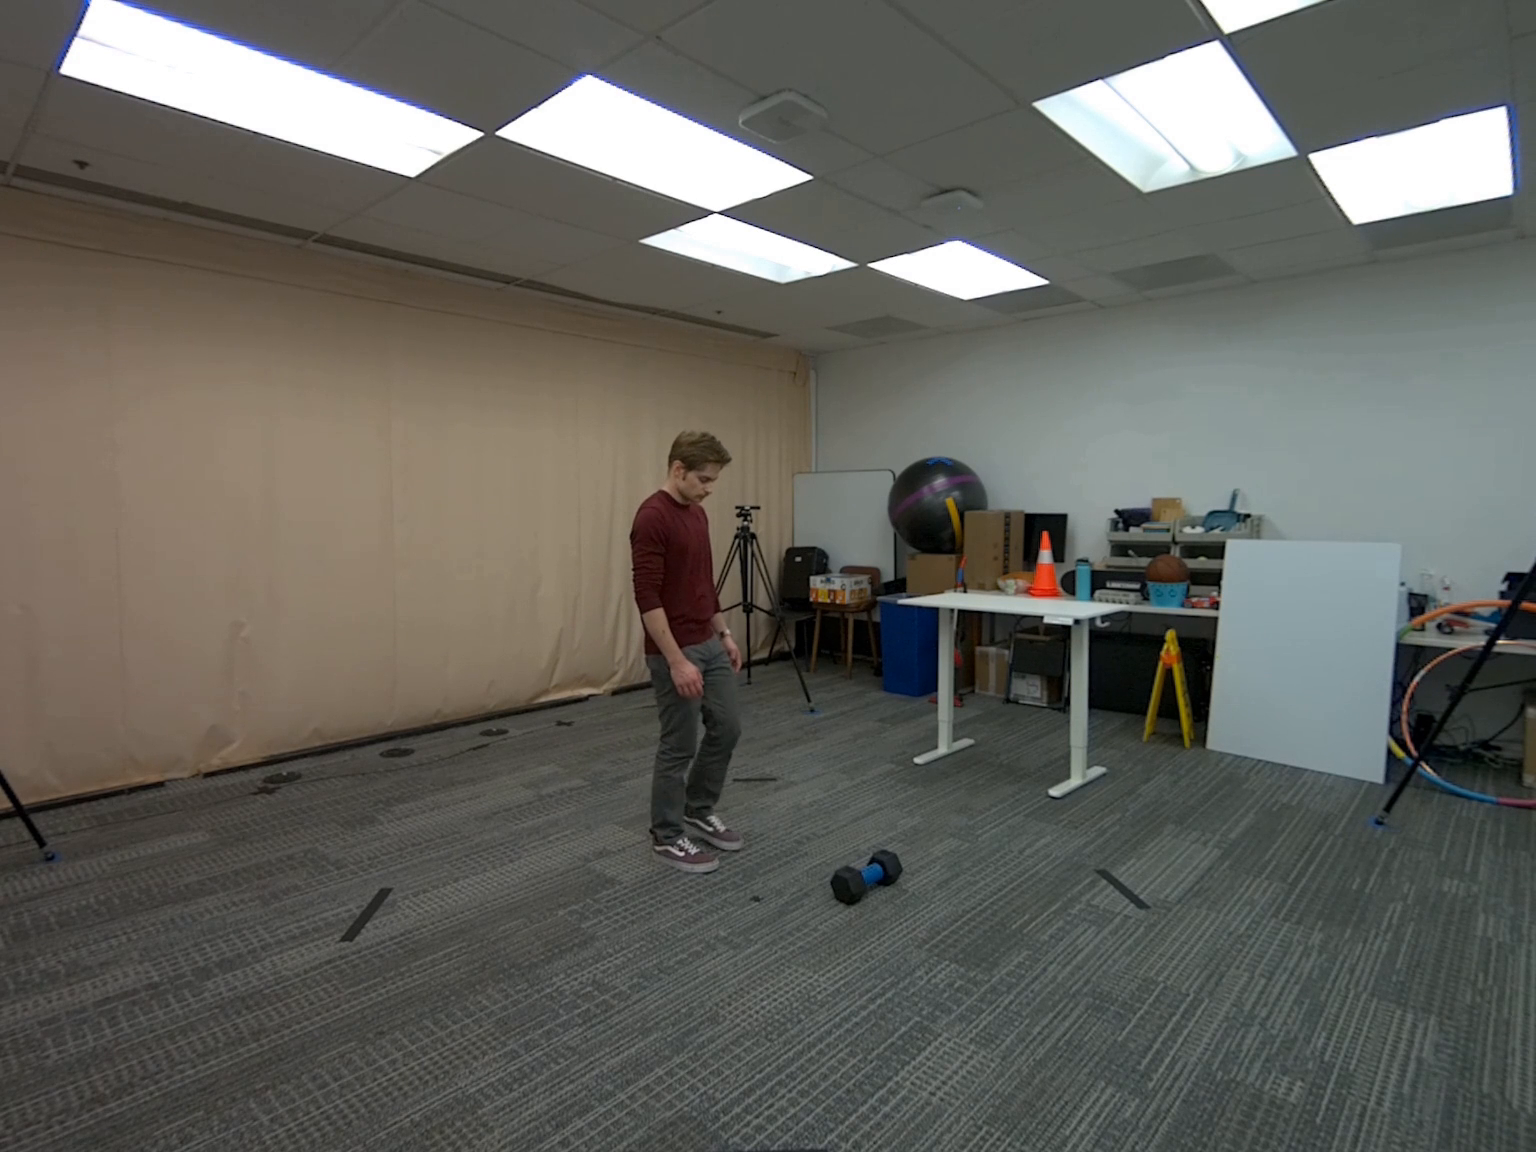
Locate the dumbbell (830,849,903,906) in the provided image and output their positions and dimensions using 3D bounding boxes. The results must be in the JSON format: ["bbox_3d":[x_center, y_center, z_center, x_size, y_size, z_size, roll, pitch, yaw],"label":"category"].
[{"bbox_3d":[0.363,1.085,3.041,0.285,0.122,0.112,-4,36,-42],"label":"dumbbell"}]
